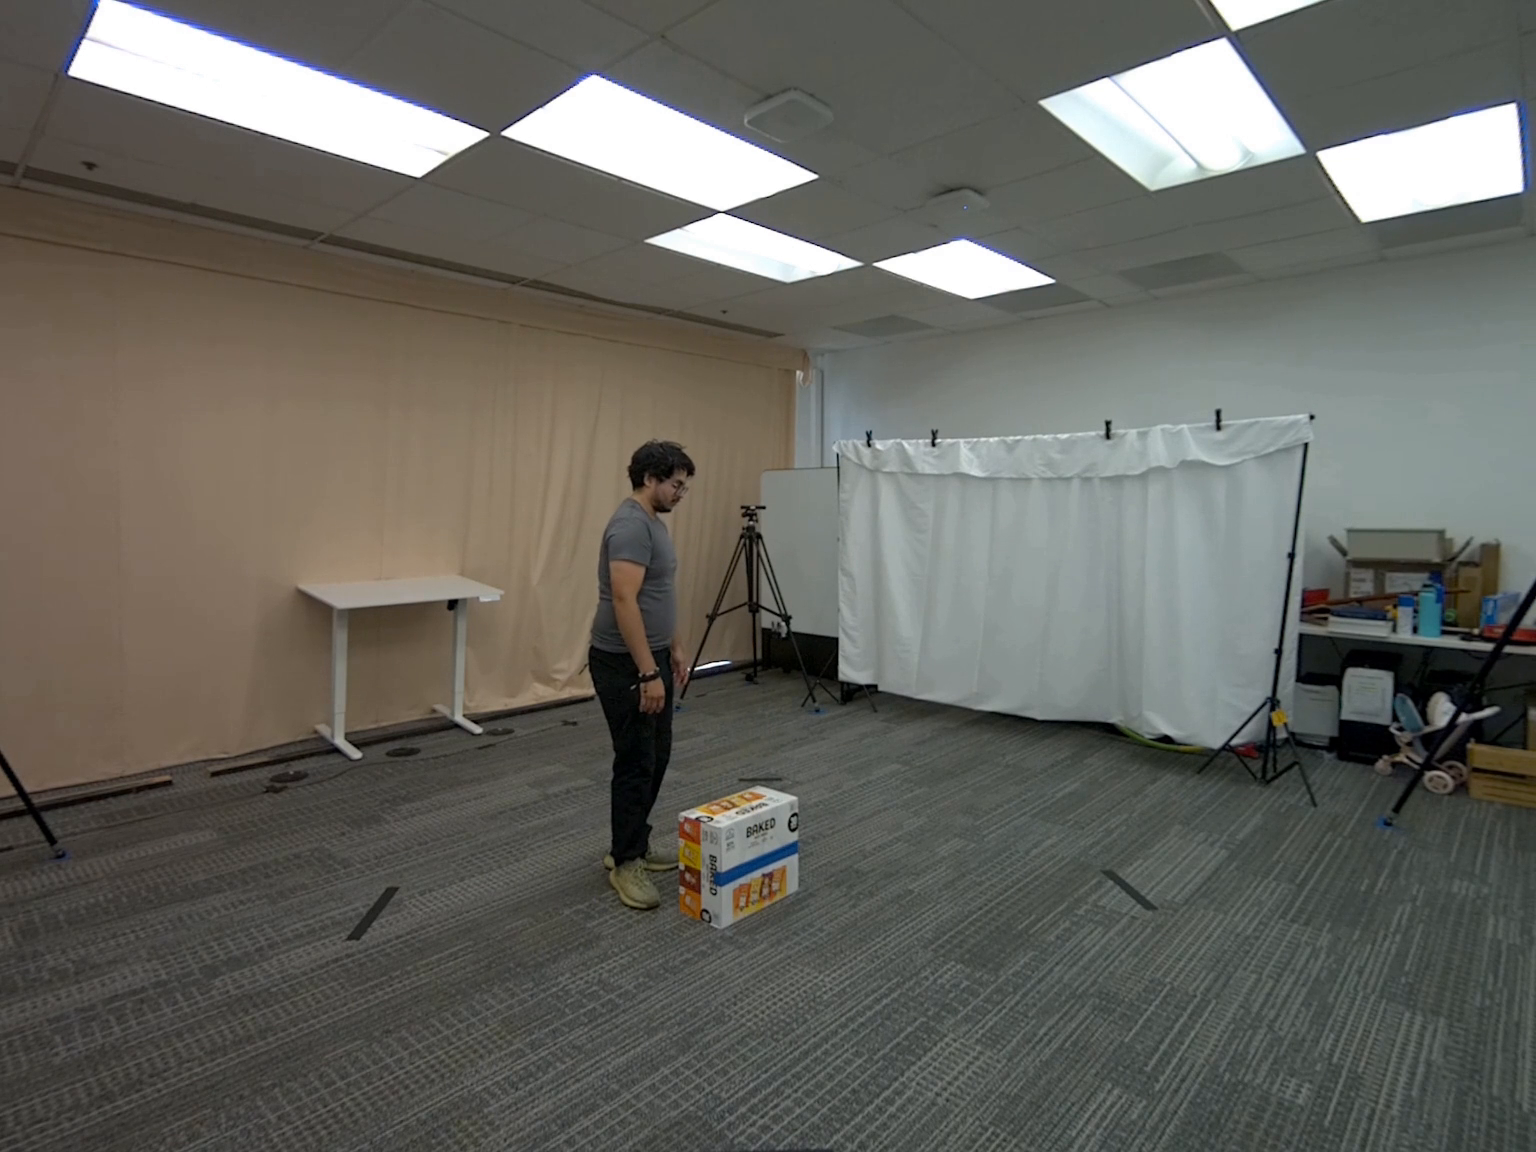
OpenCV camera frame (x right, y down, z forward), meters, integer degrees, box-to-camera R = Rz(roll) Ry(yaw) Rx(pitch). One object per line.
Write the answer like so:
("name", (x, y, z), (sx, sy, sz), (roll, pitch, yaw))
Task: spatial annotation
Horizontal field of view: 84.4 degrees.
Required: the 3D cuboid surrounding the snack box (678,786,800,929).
("snack box", (-0.096, 0.975, 2.967), (0.212, 0.340, 0.393), (3, 5, 43))
